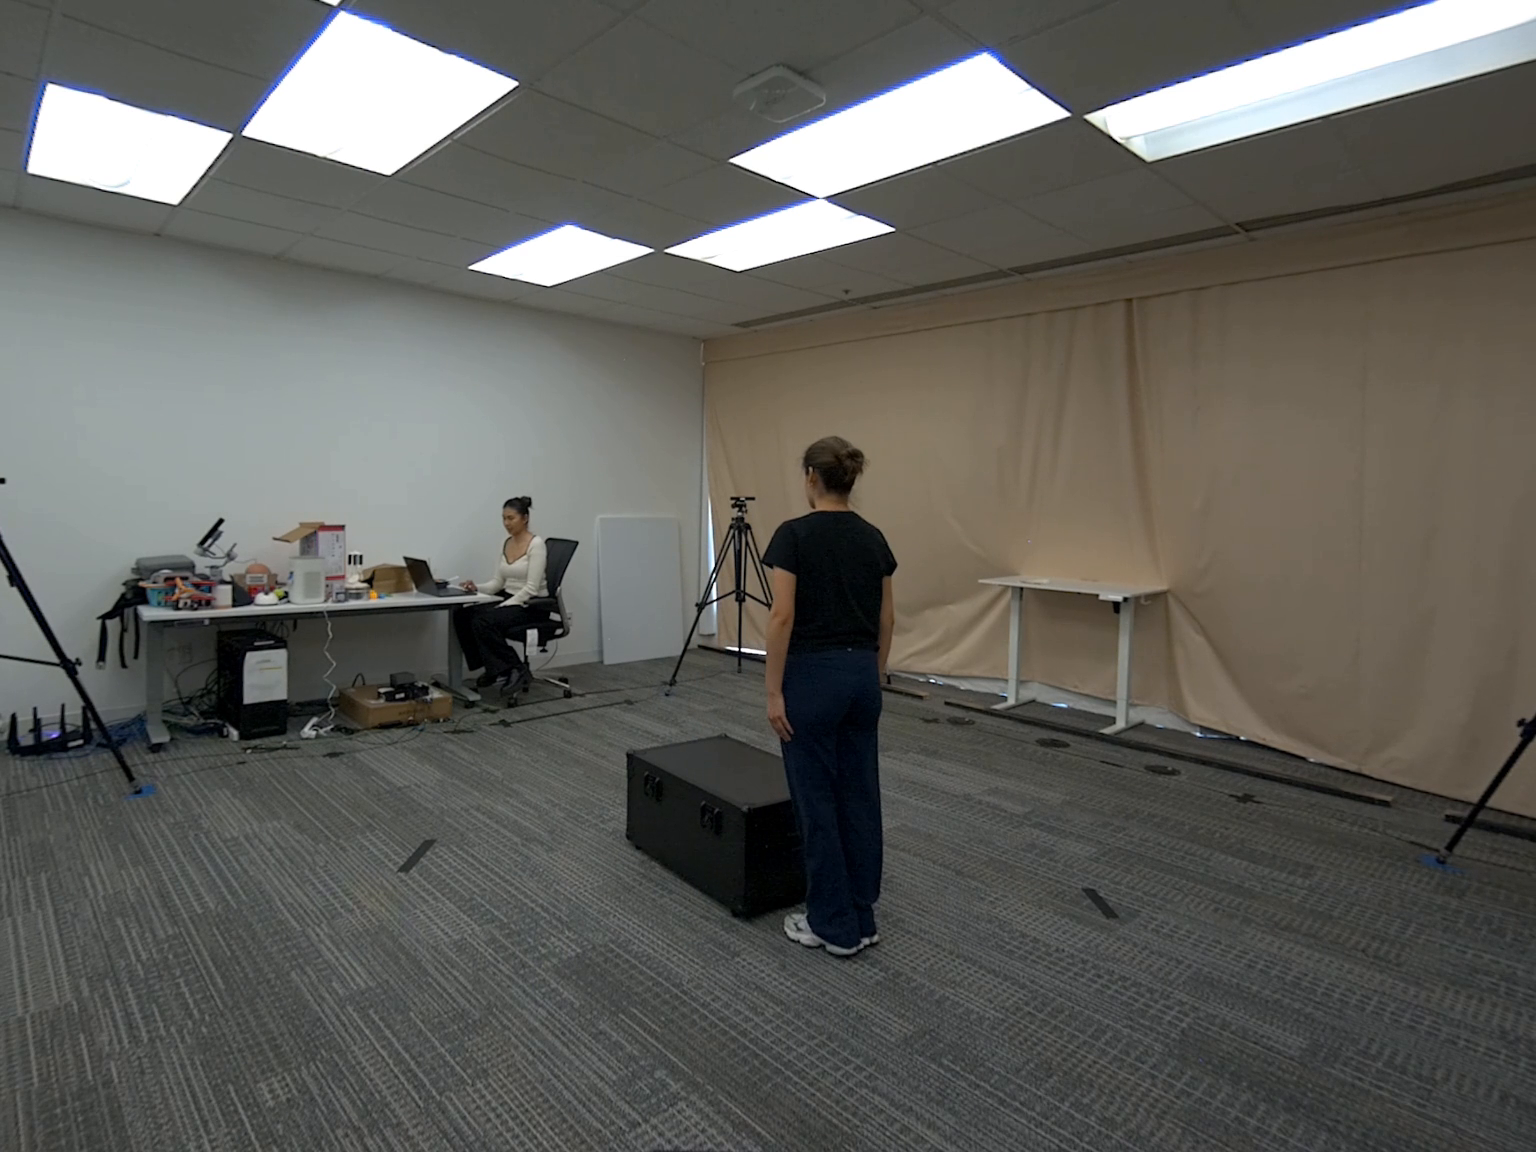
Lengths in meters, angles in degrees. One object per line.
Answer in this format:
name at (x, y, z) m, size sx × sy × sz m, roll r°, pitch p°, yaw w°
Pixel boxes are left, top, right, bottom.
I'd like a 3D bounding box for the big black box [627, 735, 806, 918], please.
big black box at (-0.125, 0.914, 3.160) m, size 0.510 × 0.395 × 0.883 m, roll -2°, pitch 5°, yaw -38°
